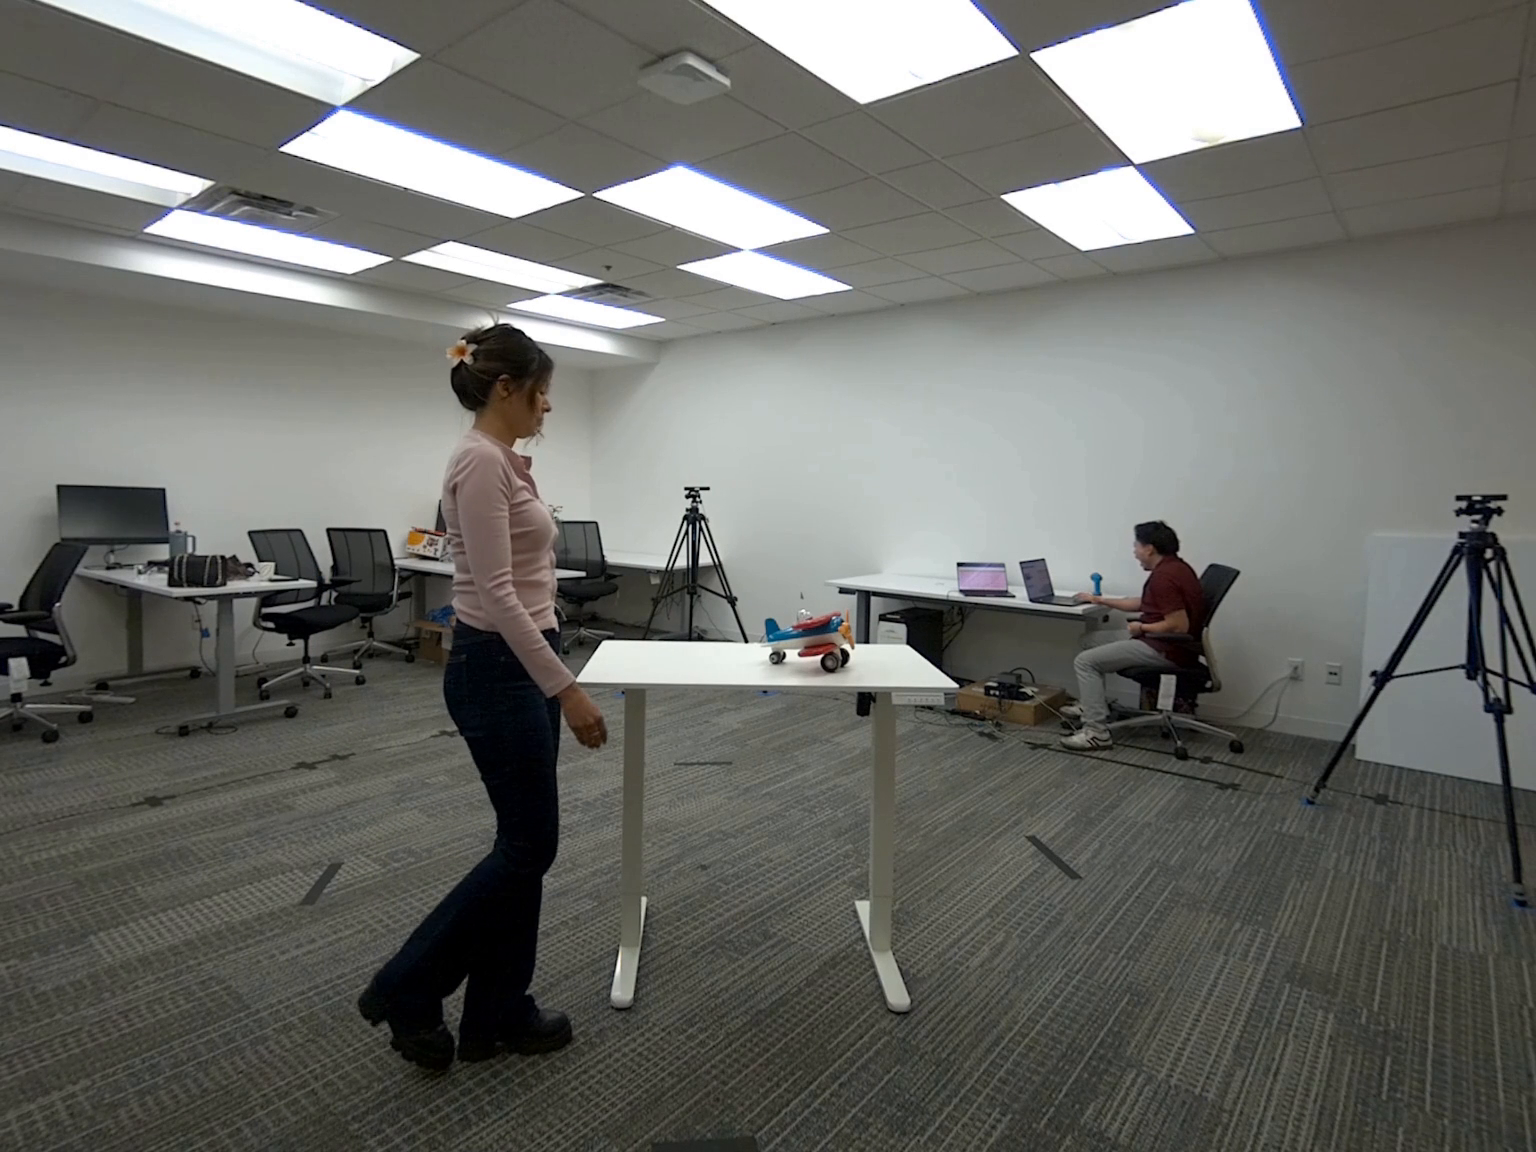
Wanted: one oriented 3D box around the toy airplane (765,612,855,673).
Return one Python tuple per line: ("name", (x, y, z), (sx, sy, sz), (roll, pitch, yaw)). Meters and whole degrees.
("toy airplane", (0.106, 0.182, 2.426), (0.258, 0.156, 0.253), (1, 5, -4))
